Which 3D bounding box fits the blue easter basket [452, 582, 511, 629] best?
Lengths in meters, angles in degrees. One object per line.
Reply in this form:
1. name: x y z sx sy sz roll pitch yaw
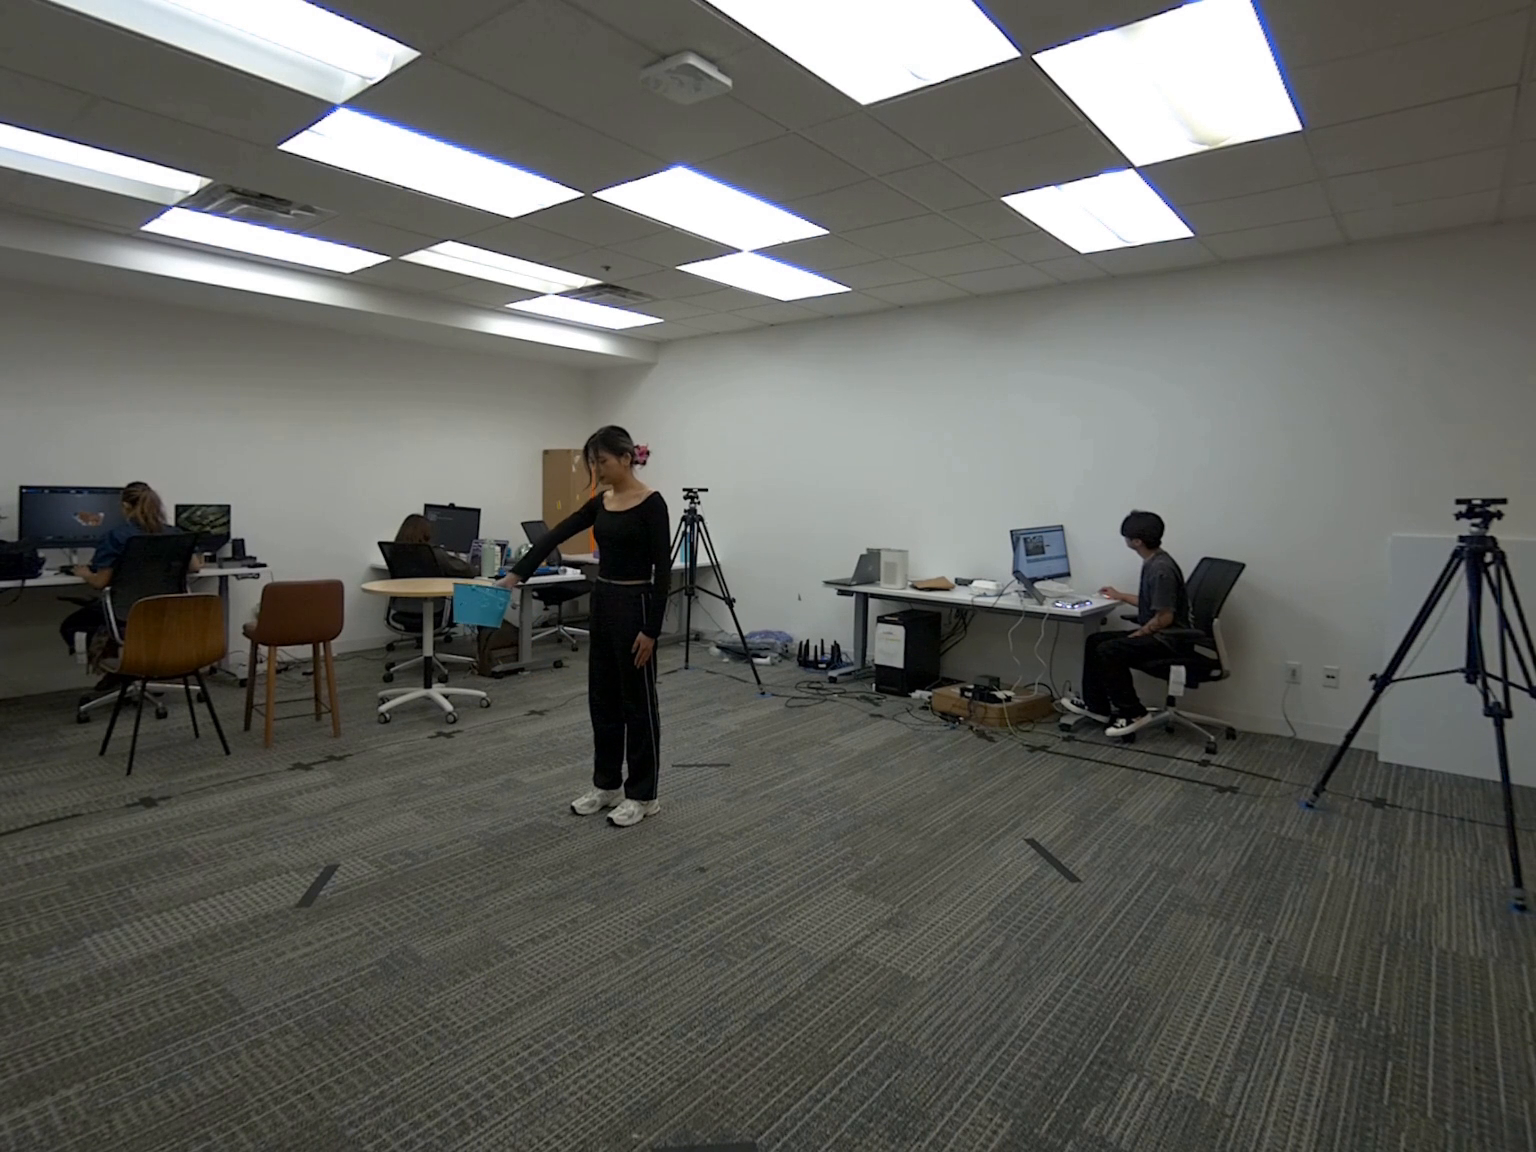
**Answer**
1. blue easter basket: -1.152 0.122 3.346 0.243 0.157 0.242 7 -5 -1
